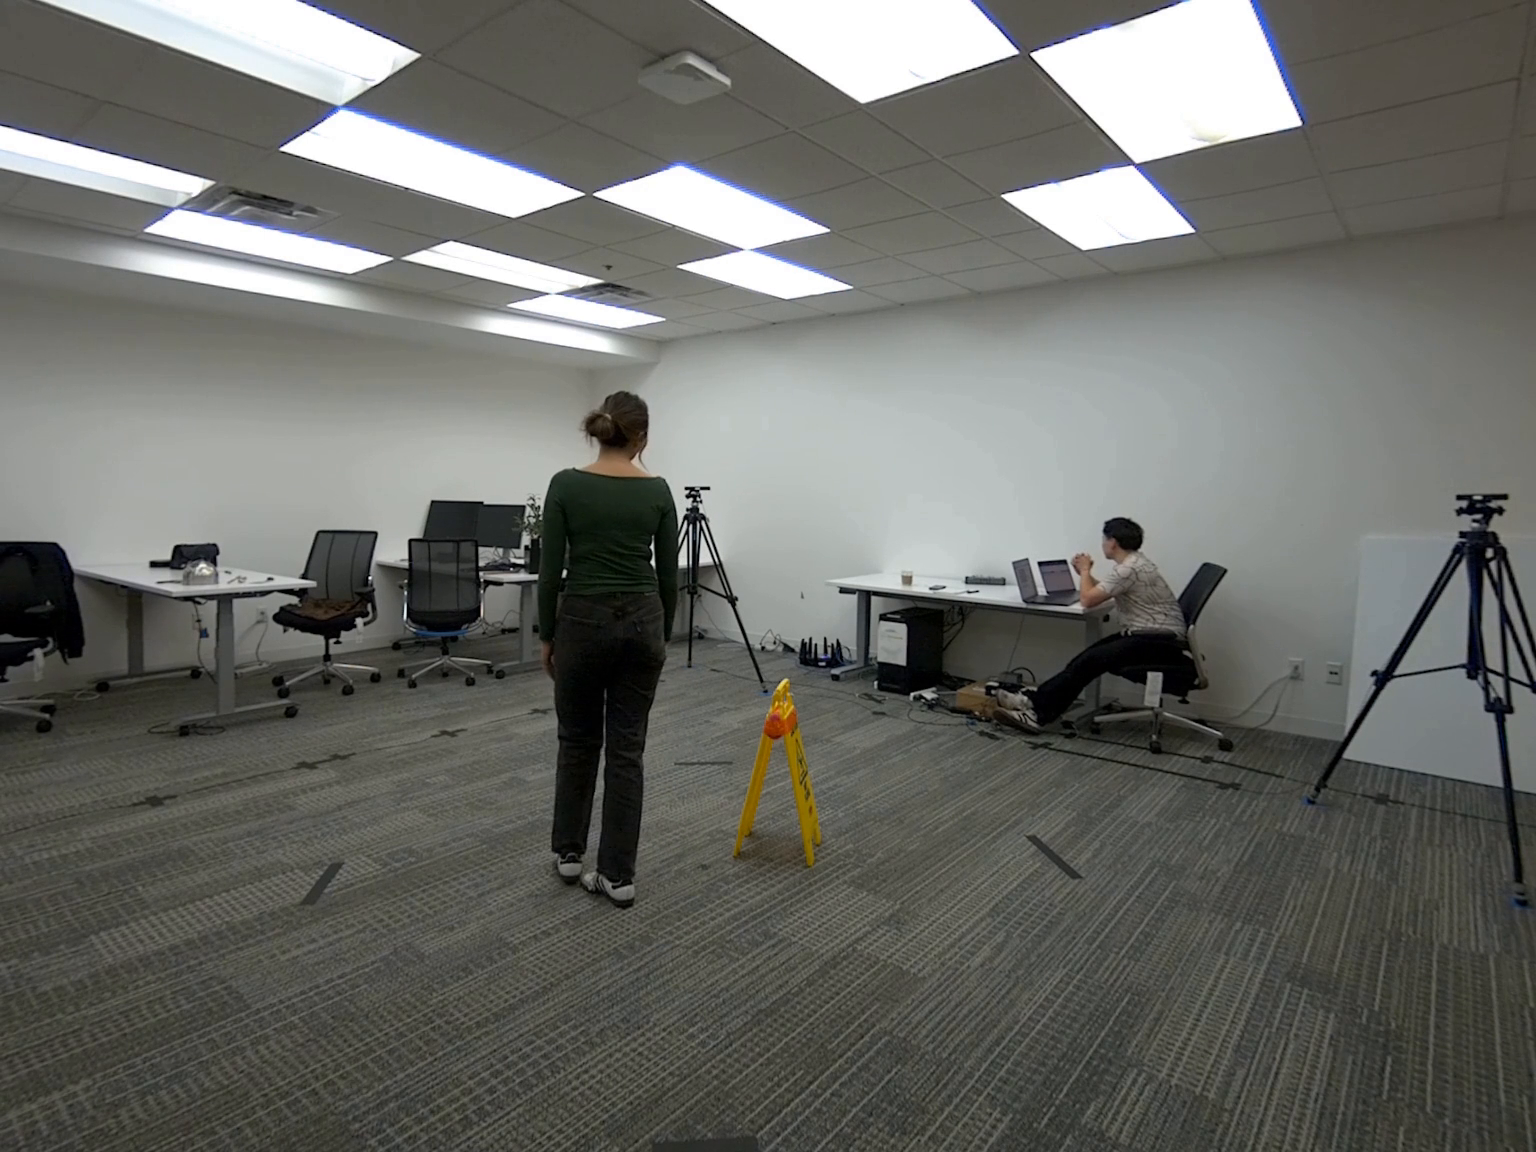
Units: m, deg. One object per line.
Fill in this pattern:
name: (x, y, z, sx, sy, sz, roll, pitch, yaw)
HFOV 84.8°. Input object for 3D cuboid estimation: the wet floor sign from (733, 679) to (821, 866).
wet floor sign: (0.035, 0.730, 3.284, 0.294, 0.645, 0.278, 2, 2, 13)
